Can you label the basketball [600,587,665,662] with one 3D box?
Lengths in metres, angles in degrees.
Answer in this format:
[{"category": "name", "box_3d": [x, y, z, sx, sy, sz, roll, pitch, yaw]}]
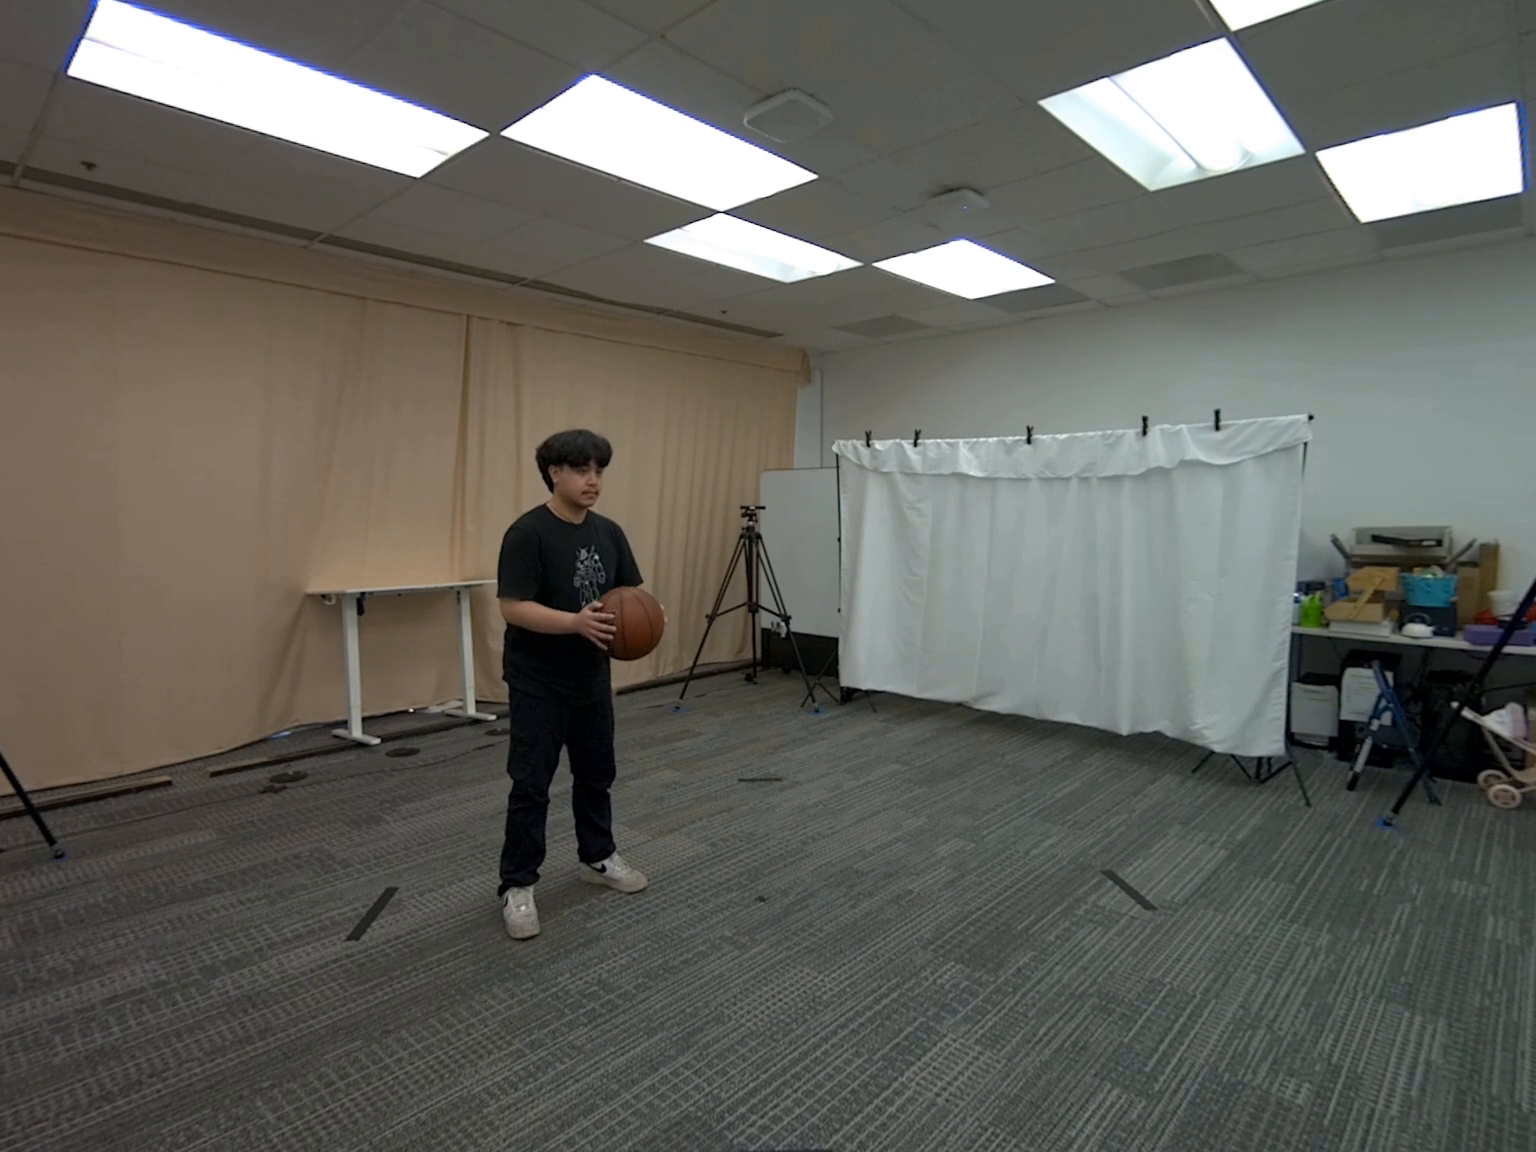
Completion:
[{"category": "basketball", "box_3d": [-0.455, 0.152, 2.700, 0.236, 0.235, 0.237, 0, 4, -2]}]
